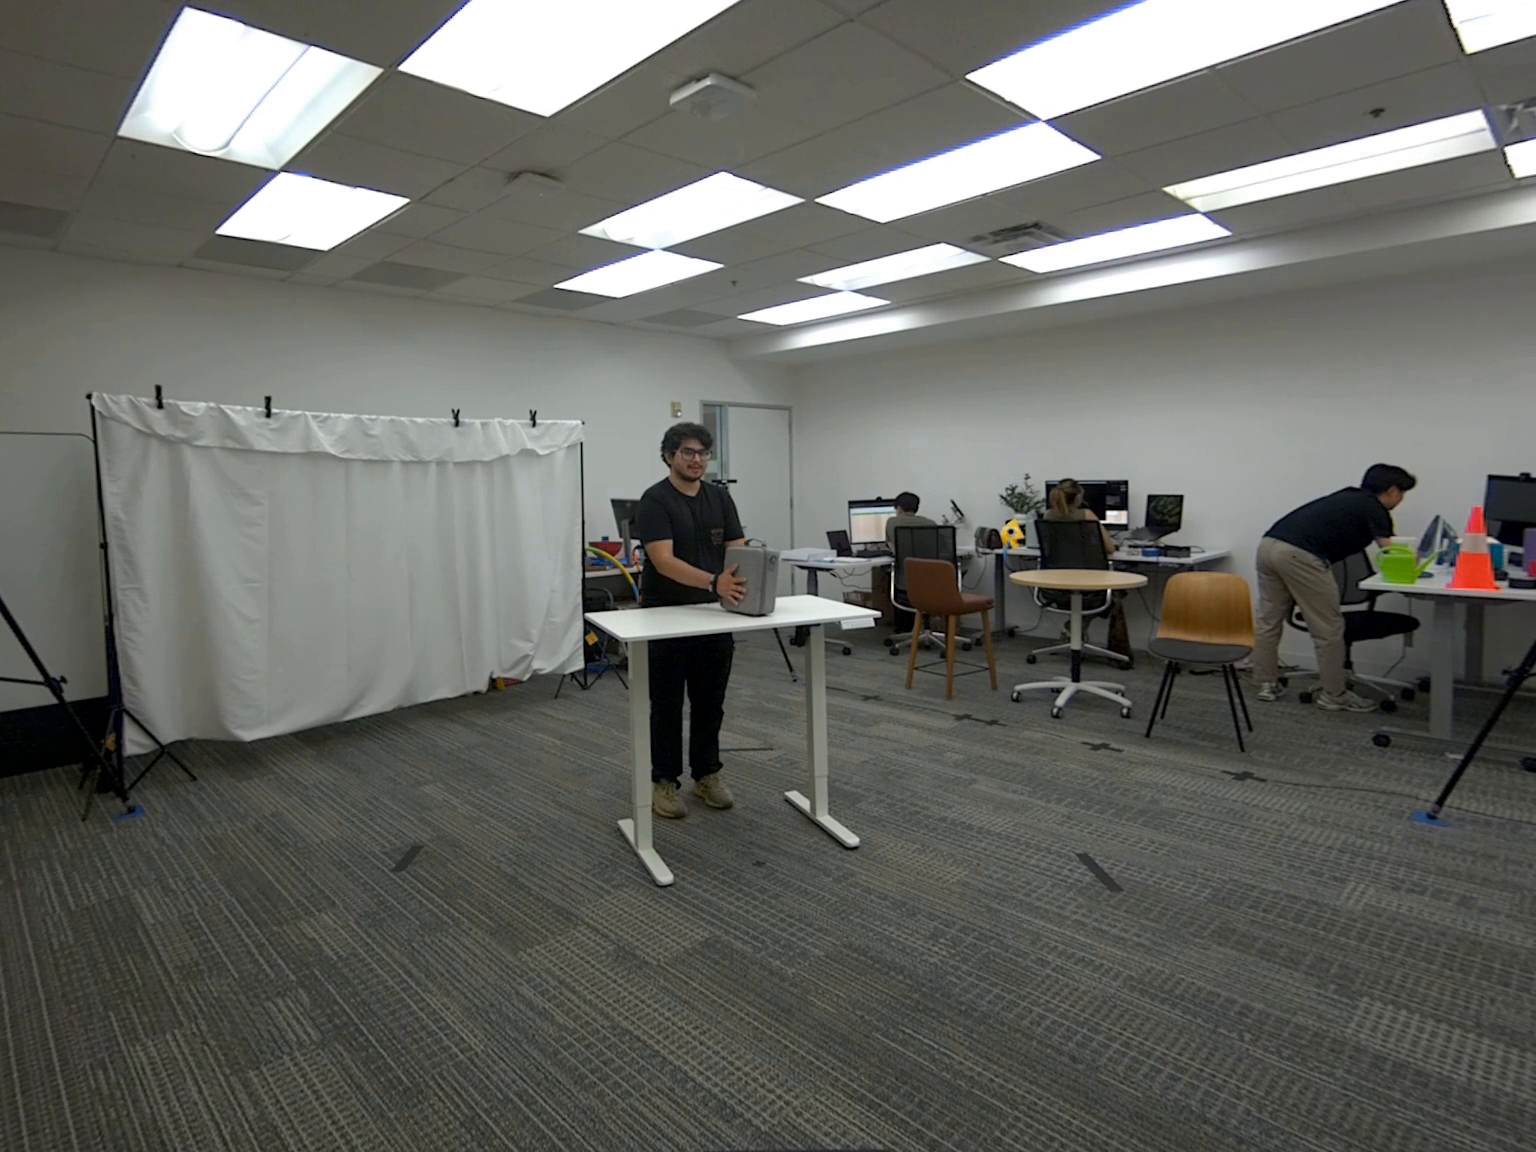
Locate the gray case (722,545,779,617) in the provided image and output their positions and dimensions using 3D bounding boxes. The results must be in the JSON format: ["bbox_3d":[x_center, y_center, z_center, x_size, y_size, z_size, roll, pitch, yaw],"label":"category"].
[{"bbox_3d":[-0.071,0.012,3.293,0.101,0.261,0.264,7,-2,-32],"label":"gray case"}]
